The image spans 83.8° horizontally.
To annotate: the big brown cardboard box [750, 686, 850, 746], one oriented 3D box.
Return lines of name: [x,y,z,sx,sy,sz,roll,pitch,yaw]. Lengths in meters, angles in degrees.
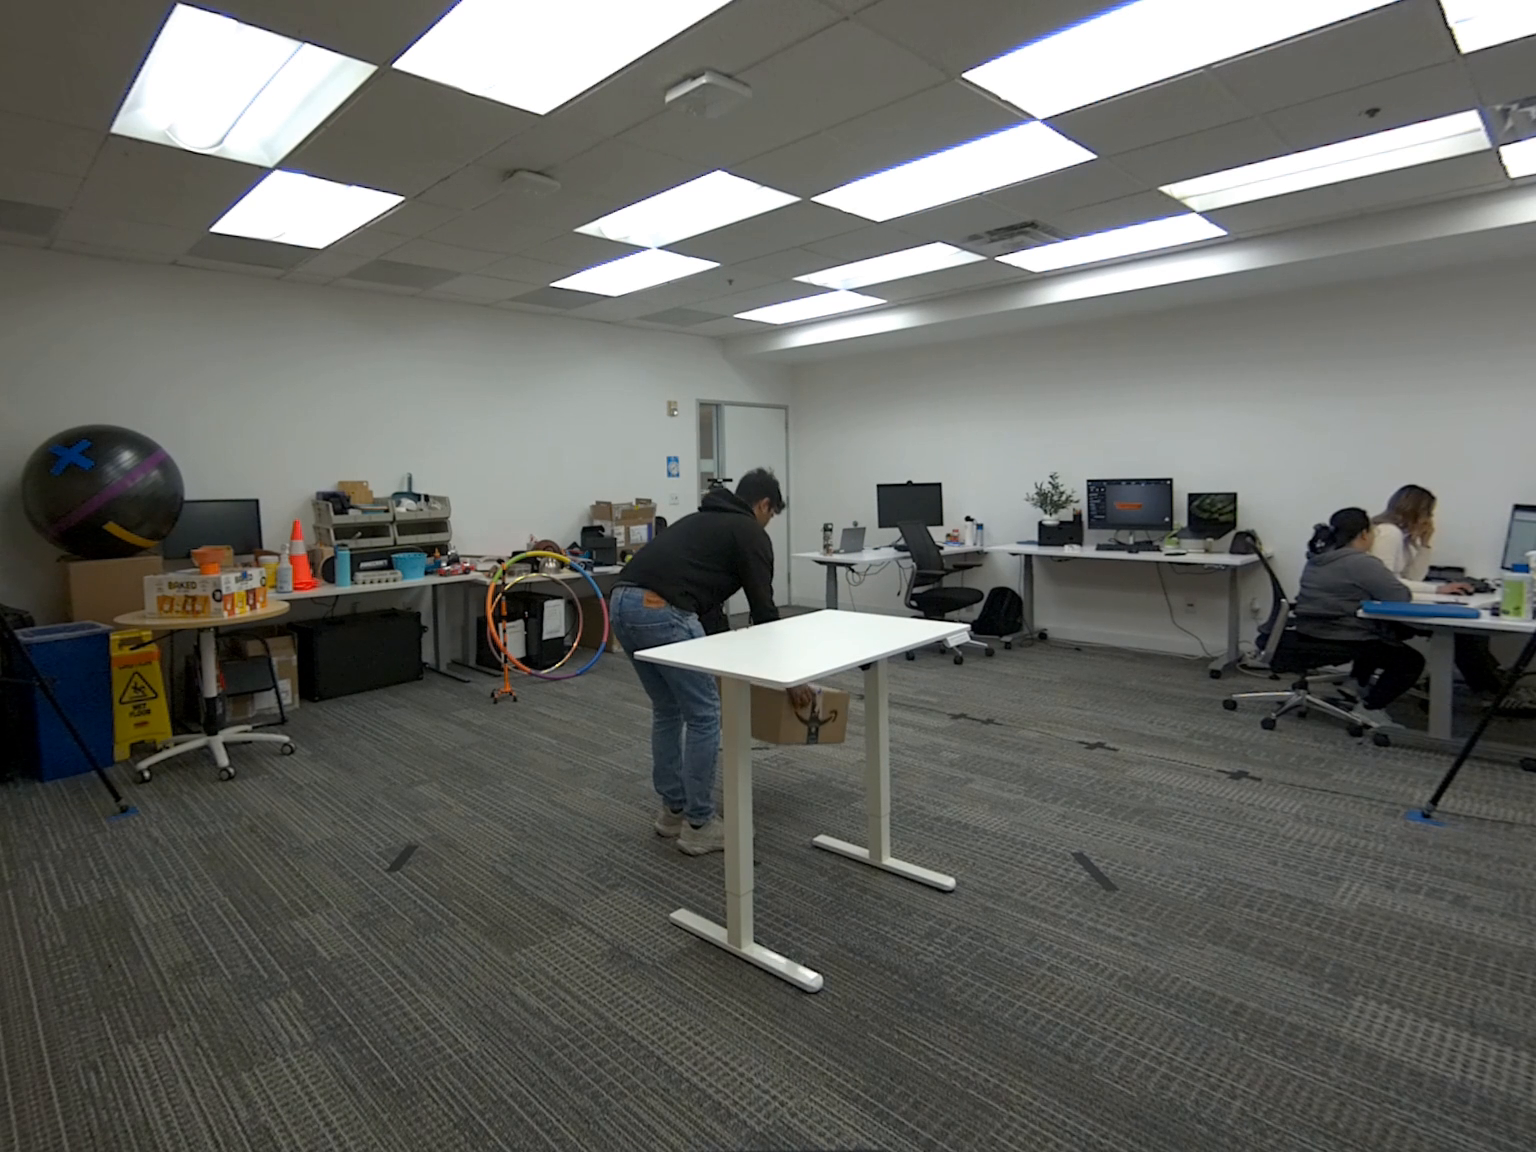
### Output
big brown cardboard box: [-0.010,0.547,3.686,0.608,0.233,0.404,7,-1,45]
